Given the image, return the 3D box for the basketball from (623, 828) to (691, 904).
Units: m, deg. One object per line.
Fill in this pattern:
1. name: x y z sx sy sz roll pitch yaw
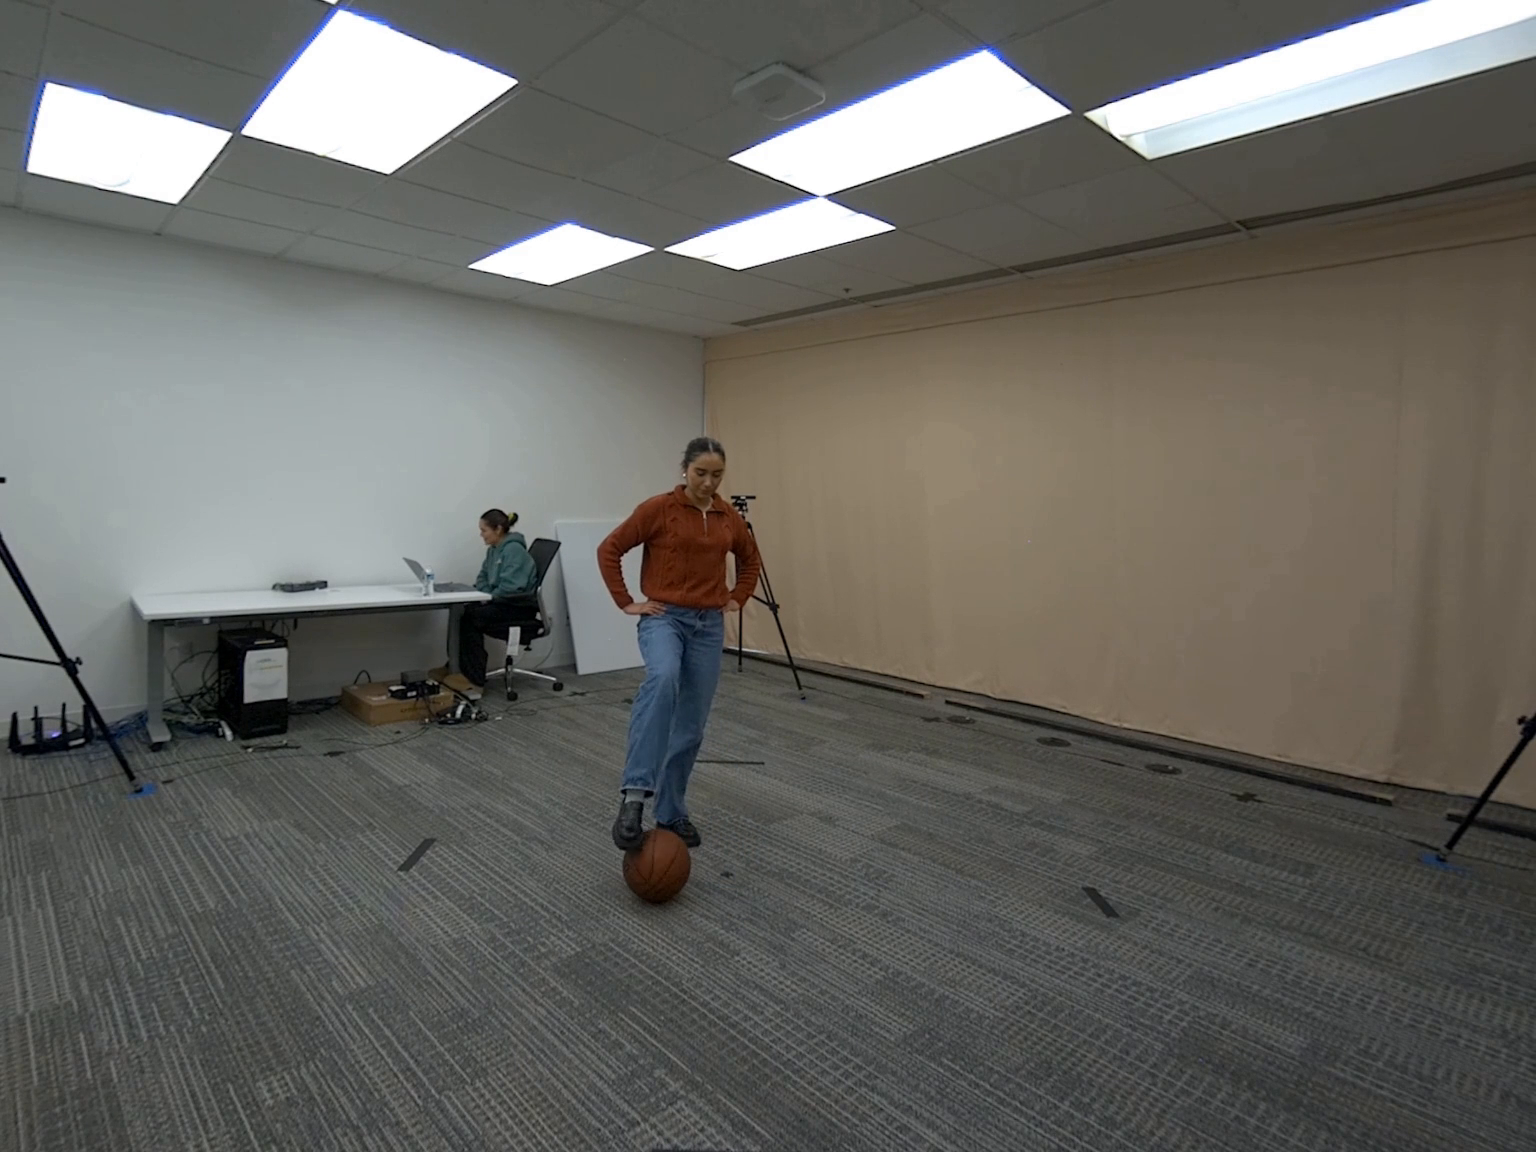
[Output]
1. basketball: -0.389 0.999 2.906 0.236 0.235 0.237 1 4 -1
